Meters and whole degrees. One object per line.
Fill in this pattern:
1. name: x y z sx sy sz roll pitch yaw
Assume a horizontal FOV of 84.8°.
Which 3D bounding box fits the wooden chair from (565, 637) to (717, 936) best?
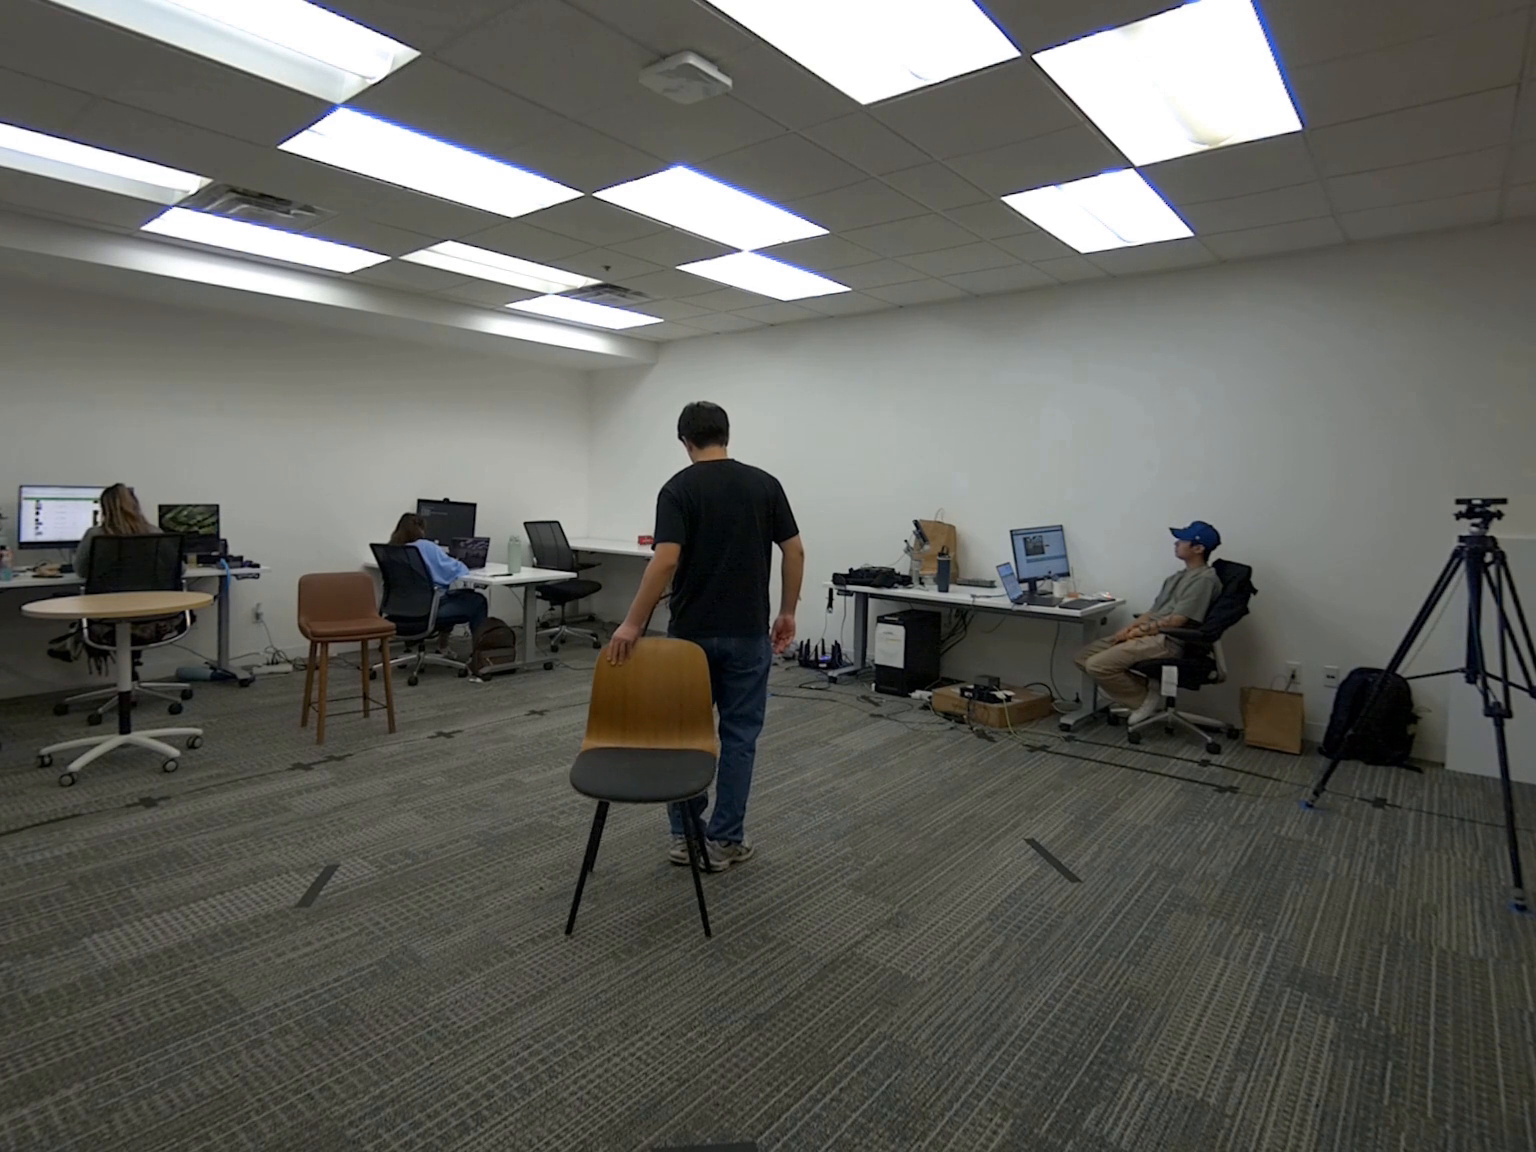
1. wooden chair: -0.416 0.665 2.826 0.477 0.878 0.524 1 0 -2
